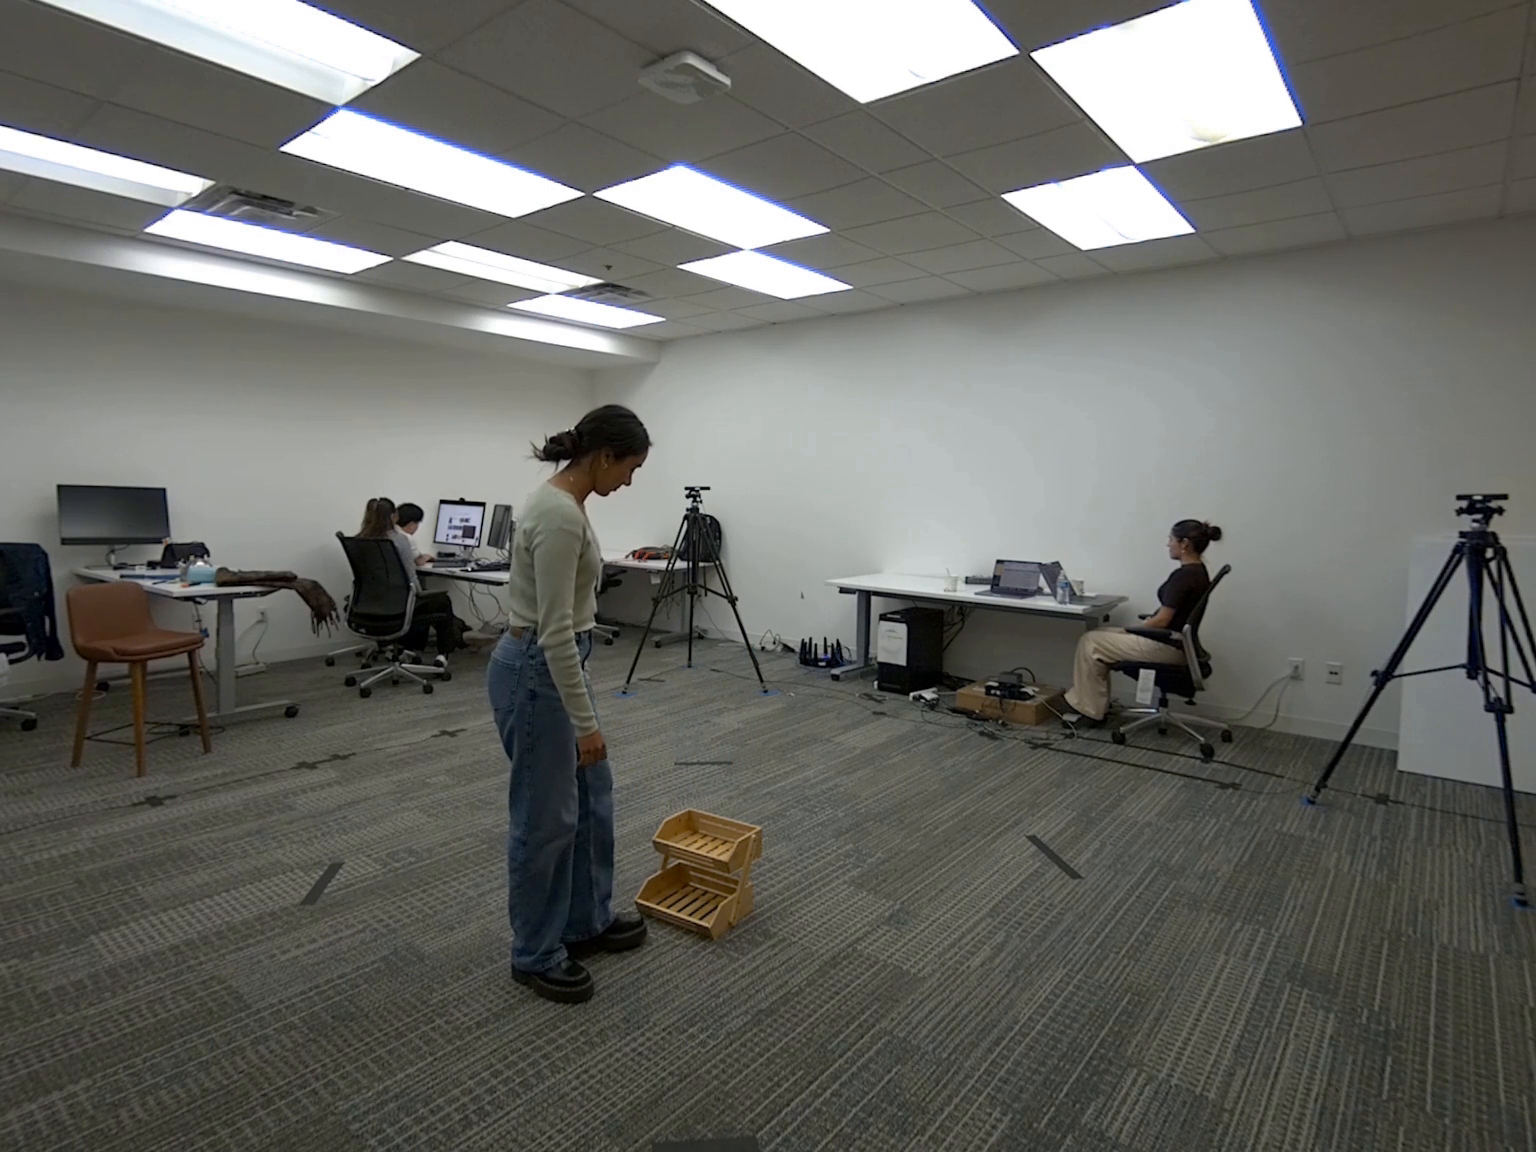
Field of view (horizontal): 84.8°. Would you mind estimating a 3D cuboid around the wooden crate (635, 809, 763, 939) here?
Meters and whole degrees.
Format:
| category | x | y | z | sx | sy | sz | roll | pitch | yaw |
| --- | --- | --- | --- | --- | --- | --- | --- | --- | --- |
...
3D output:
| category | x | y | z | sx | sy | sz | roll | pitch | yaw |
| --- | --- | --- | --- | --- | --- | --- | --- | --- | --- |
| wooden crate | -0.236 | 0.962 | 2.792 | 0.334 | 0.273 | 0.294 | 3 | 4 | 31 |
